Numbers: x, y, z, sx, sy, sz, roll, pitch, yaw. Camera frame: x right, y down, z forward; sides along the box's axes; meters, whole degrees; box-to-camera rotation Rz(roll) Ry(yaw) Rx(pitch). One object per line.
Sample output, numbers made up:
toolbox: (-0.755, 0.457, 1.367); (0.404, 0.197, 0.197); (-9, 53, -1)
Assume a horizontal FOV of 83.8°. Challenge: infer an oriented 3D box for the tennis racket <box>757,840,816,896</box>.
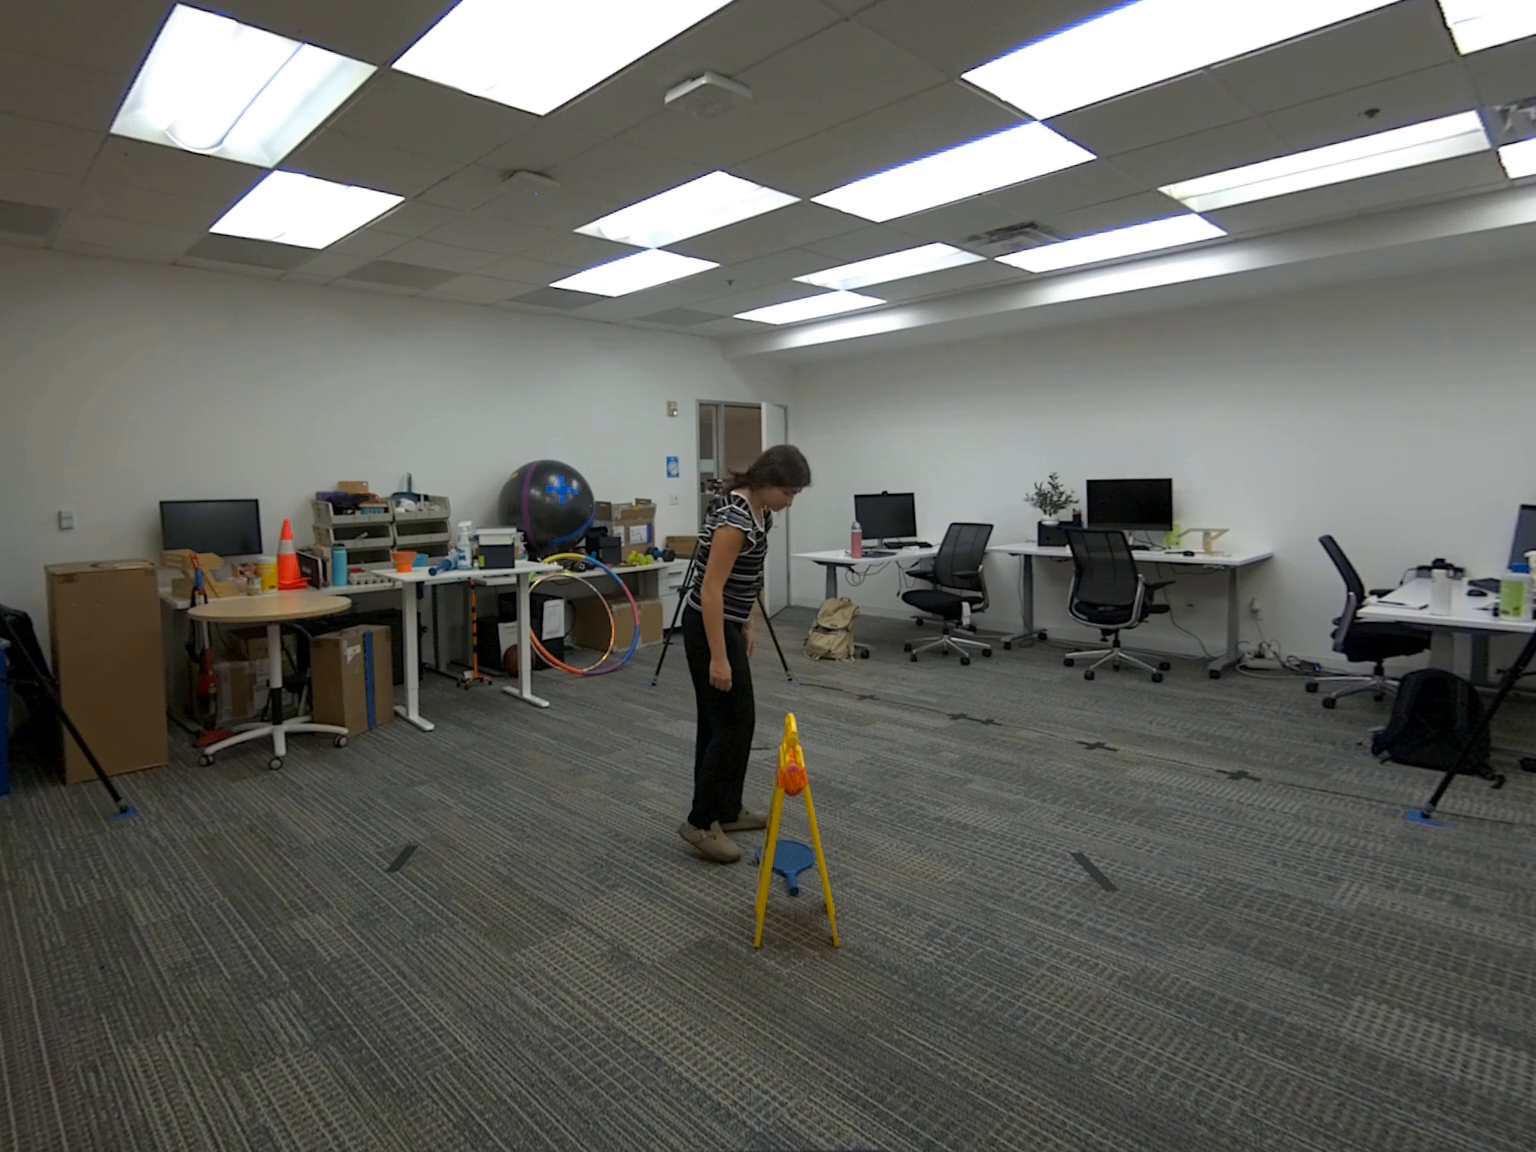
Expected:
tennis racket: (0.071, 1.032, 3.062); (0.214, 0.031, 0.434); (-1, 5, -1)
